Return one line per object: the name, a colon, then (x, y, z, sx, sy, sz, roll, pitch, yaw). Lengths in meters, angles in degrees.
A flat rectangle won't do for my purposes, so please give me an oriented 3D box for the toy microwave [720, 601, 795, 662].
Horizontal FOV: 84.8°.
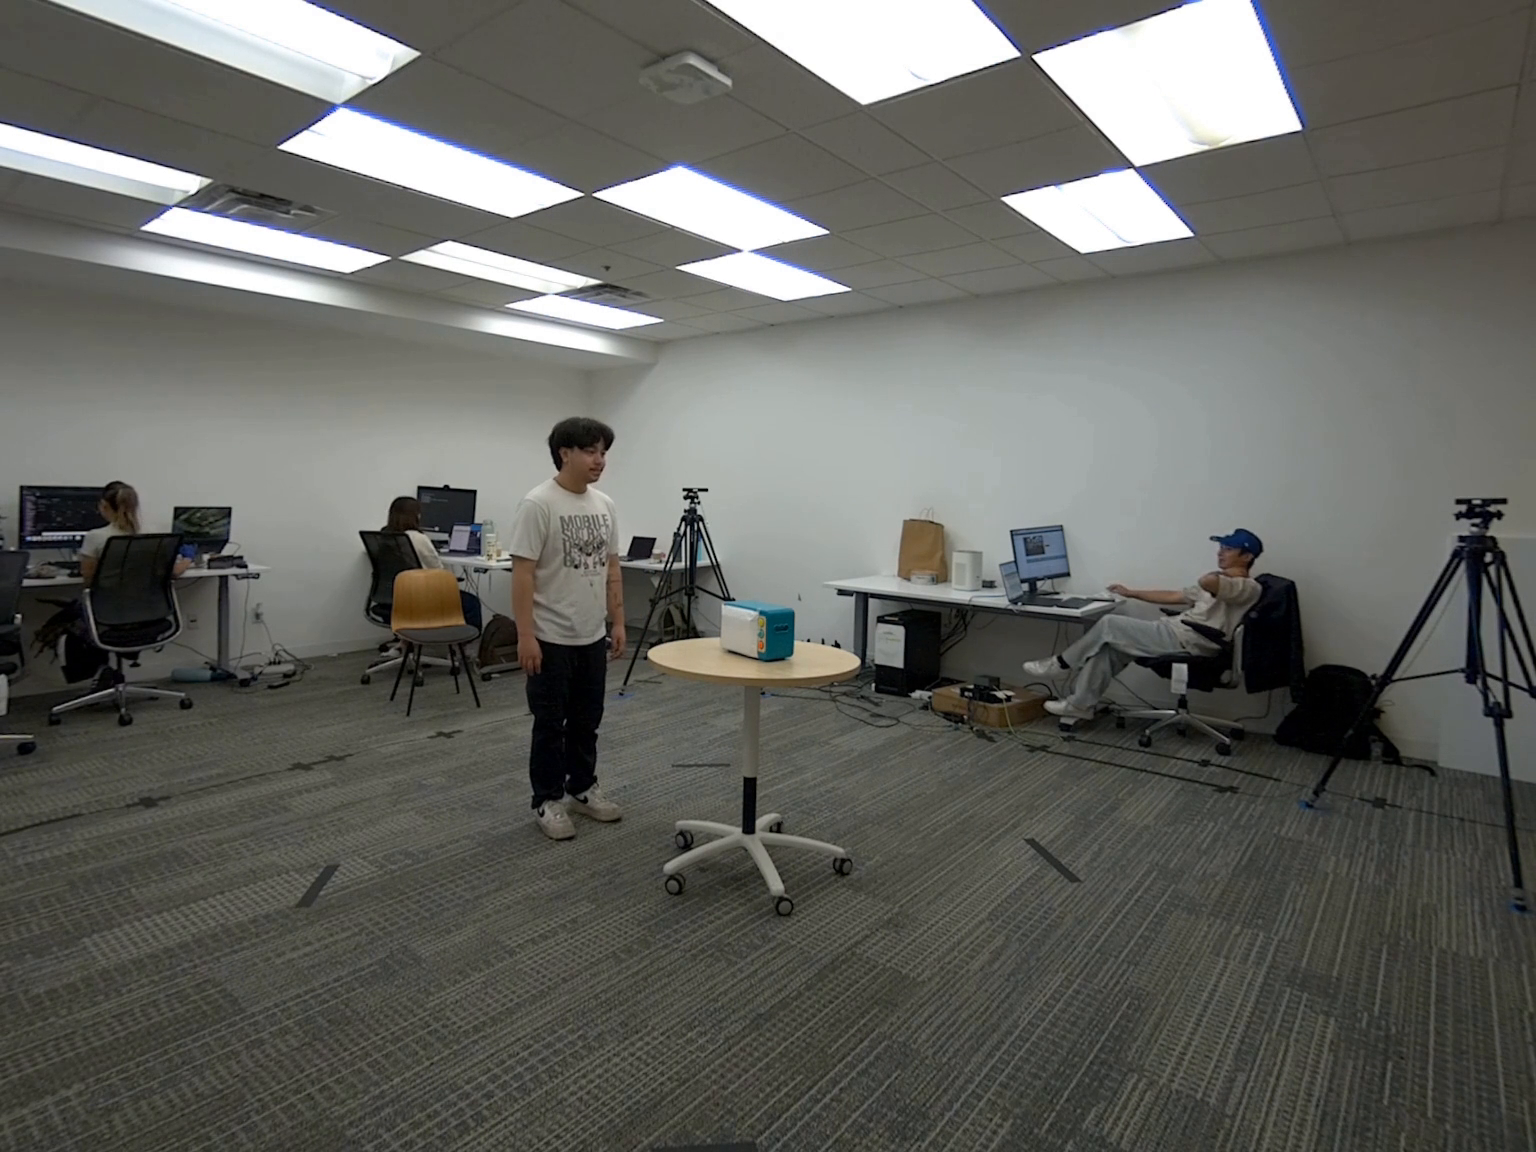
toy microwave: (-0.057, 0.192, 3.076, 0.148, 0.183, 0.296, -2, 6, -38)
